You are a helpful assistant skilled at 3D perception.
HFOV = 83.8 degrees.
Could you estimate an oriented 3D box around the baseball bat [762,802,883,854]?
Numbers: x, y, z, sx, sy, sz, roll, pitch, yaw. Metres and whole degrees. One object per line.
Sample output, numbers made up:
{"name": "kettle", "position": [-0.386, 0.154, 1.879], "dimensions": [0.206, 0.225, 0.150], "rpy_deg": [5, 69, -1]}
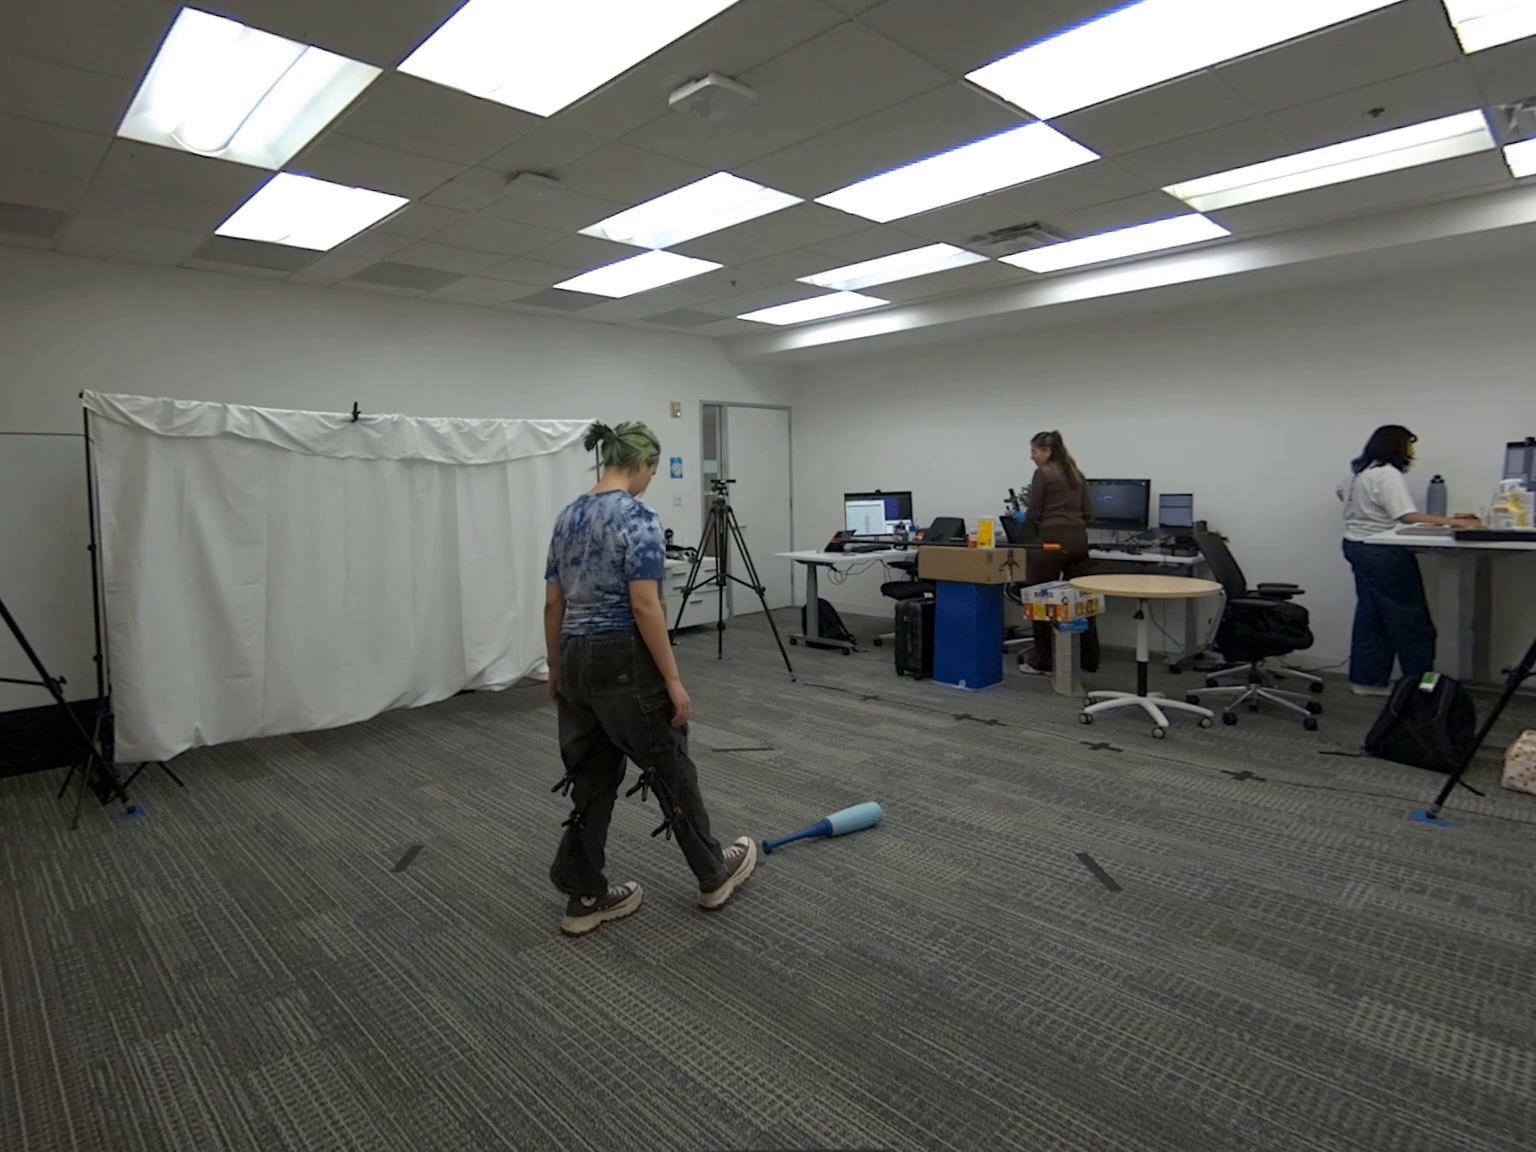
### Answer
{"name": "baseball bat", "position": [0.217, 0.987, 3.319], "dimensions": [0.531, 0.088, 0.091], "rpy_deg": [-8, 8, -29]}
